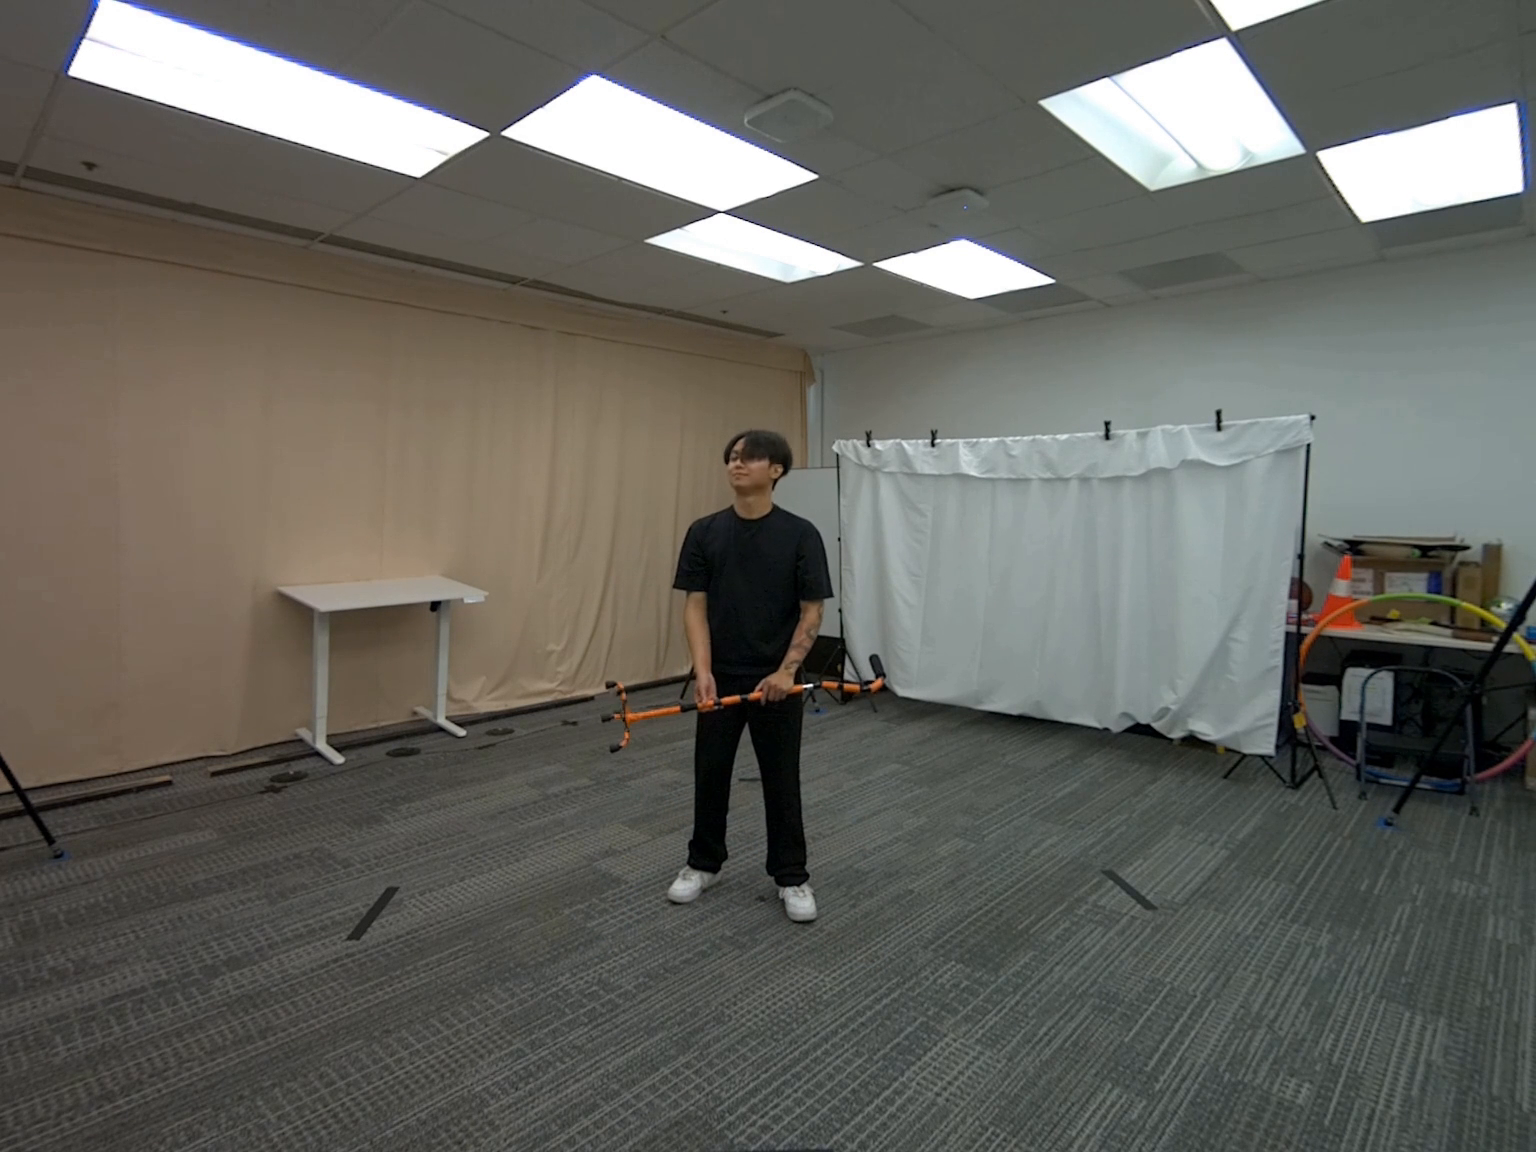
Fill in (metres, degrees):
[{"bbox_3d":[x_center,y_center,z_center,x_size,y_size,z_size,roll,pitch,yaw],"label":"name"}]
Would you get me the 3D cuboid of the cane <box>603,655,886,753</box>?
[{"bbox_3d":[-0.075,0.384,2.715,0.909,0.148,0.211,-9,33,1],"label":"cane"}]
